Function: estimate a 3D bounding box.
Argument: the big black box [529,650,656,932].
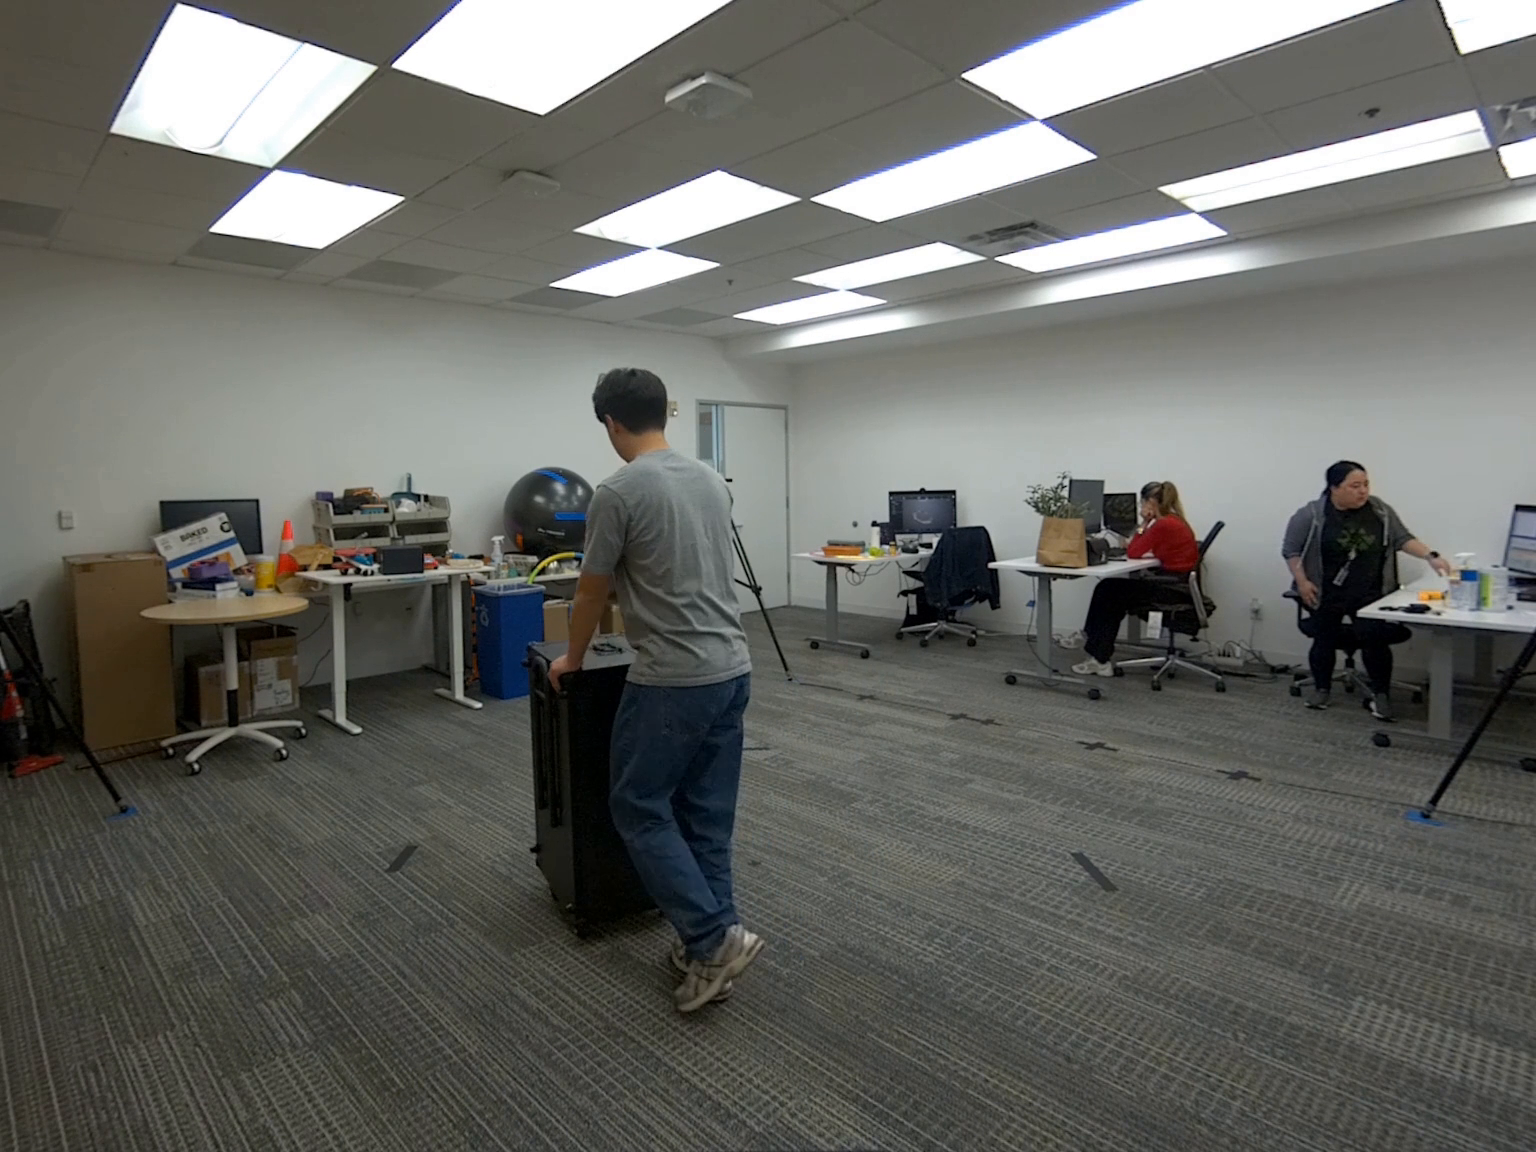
[{"bbox_3d":[-0.550,0.666,2.798,0.388,0.857,0.535,-4,6,-28],"label":"big black box"}]
